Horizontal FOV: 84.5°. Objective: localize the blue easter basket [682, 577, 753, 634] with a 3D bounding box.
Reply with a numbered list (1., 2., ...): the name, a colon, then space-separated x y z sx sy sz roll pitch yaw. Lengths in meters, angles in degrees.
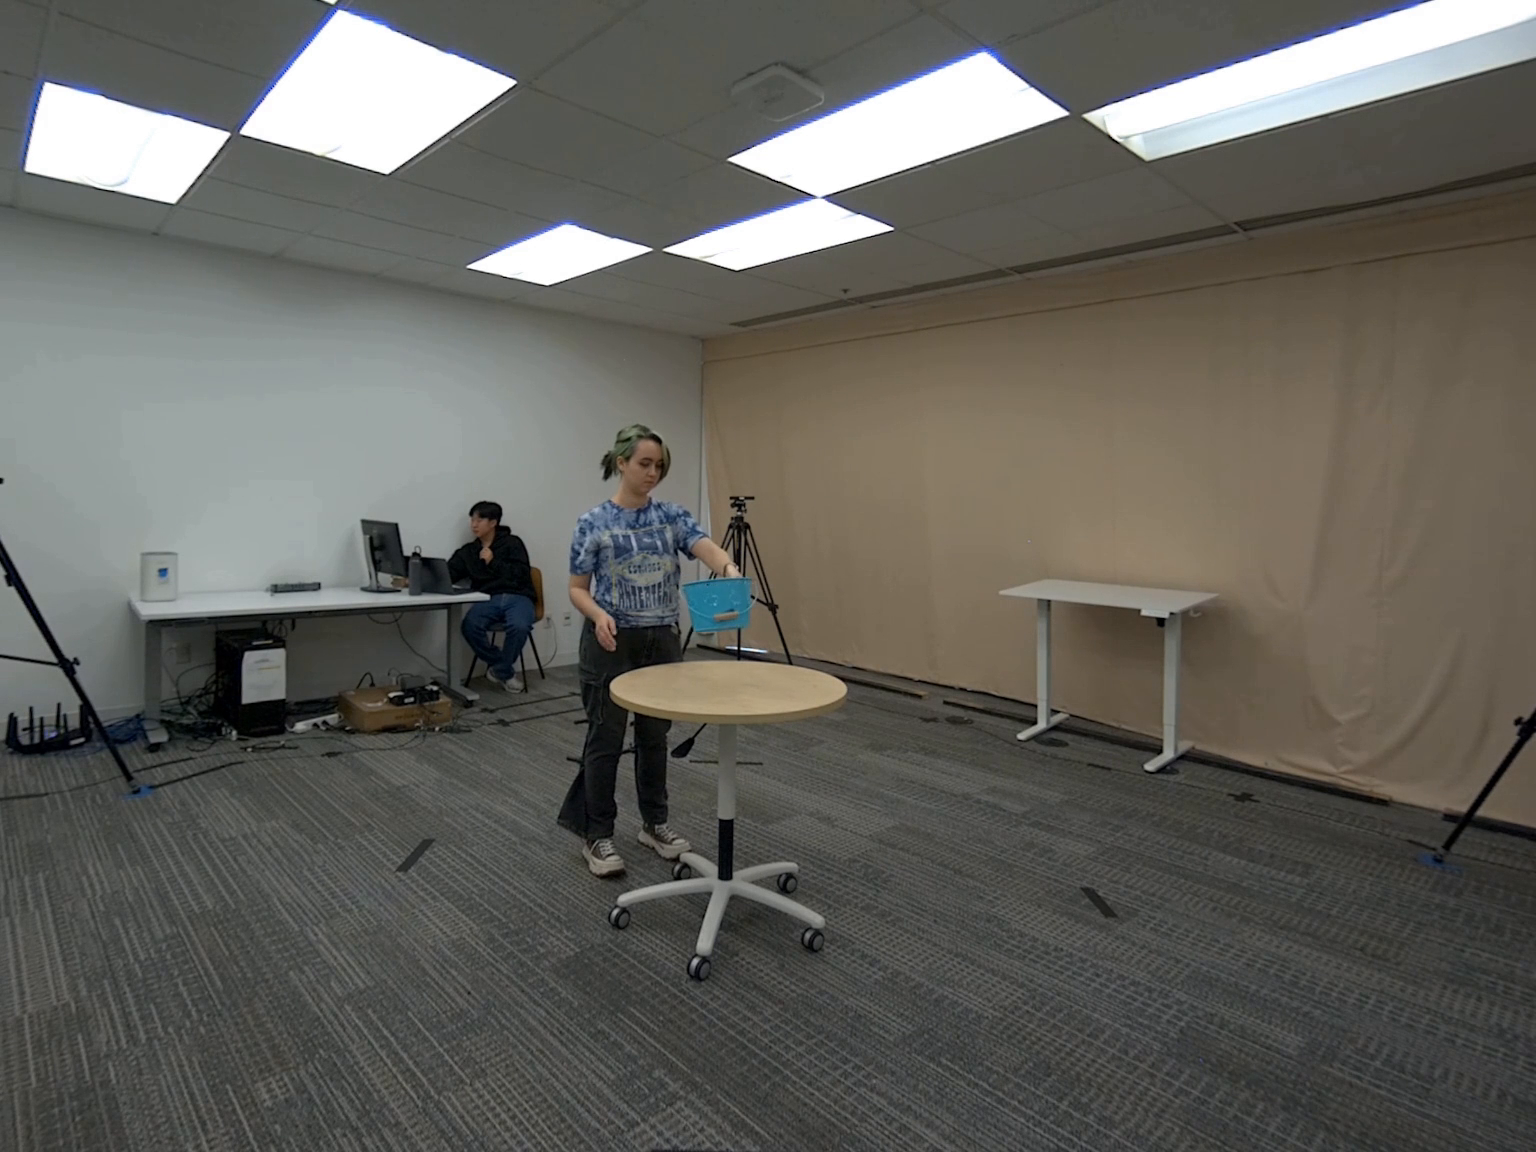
1. blue easter basket: -0.168 0.101 2.685 0.243 0.157 0.242 -6 -6 -2
